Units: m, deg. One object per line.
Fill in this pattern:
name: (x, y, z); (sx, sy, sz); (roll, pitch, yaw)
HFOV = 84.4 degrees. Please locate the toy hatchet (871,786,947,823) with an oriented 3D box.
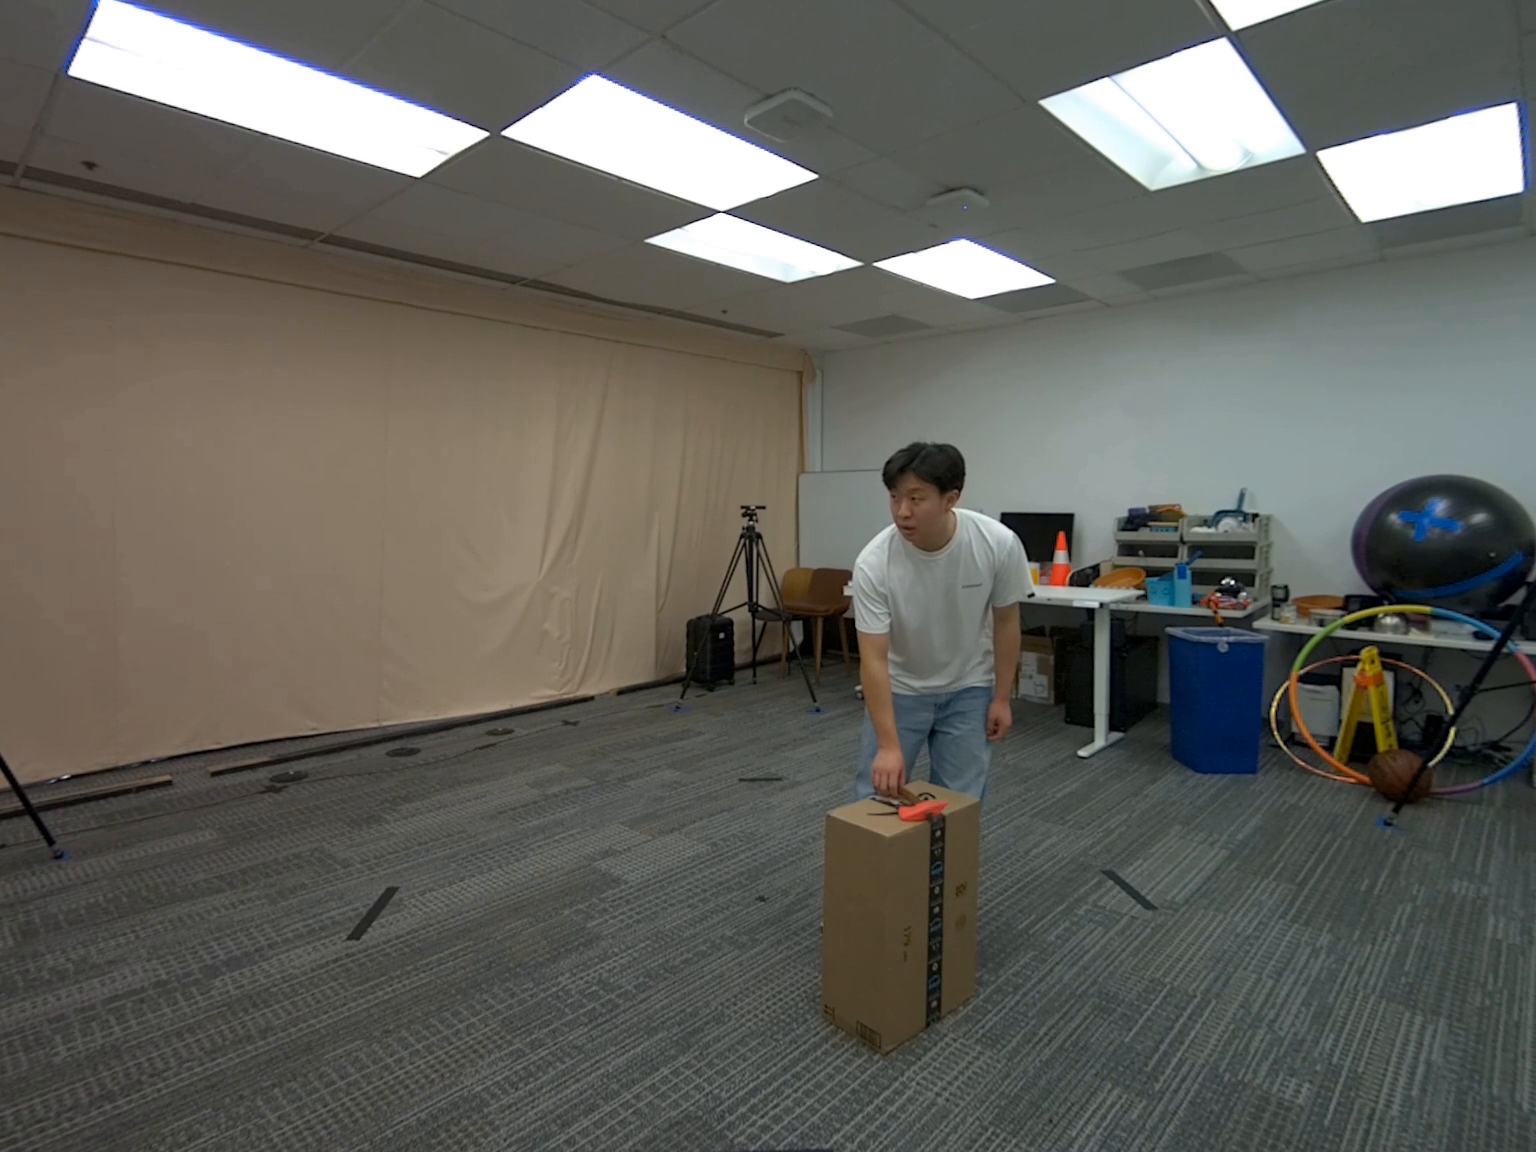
toy hatchet: (0.352, 0.614, 2.312); (0.128, 0.029, 0.277); (-21, 9, -30)
